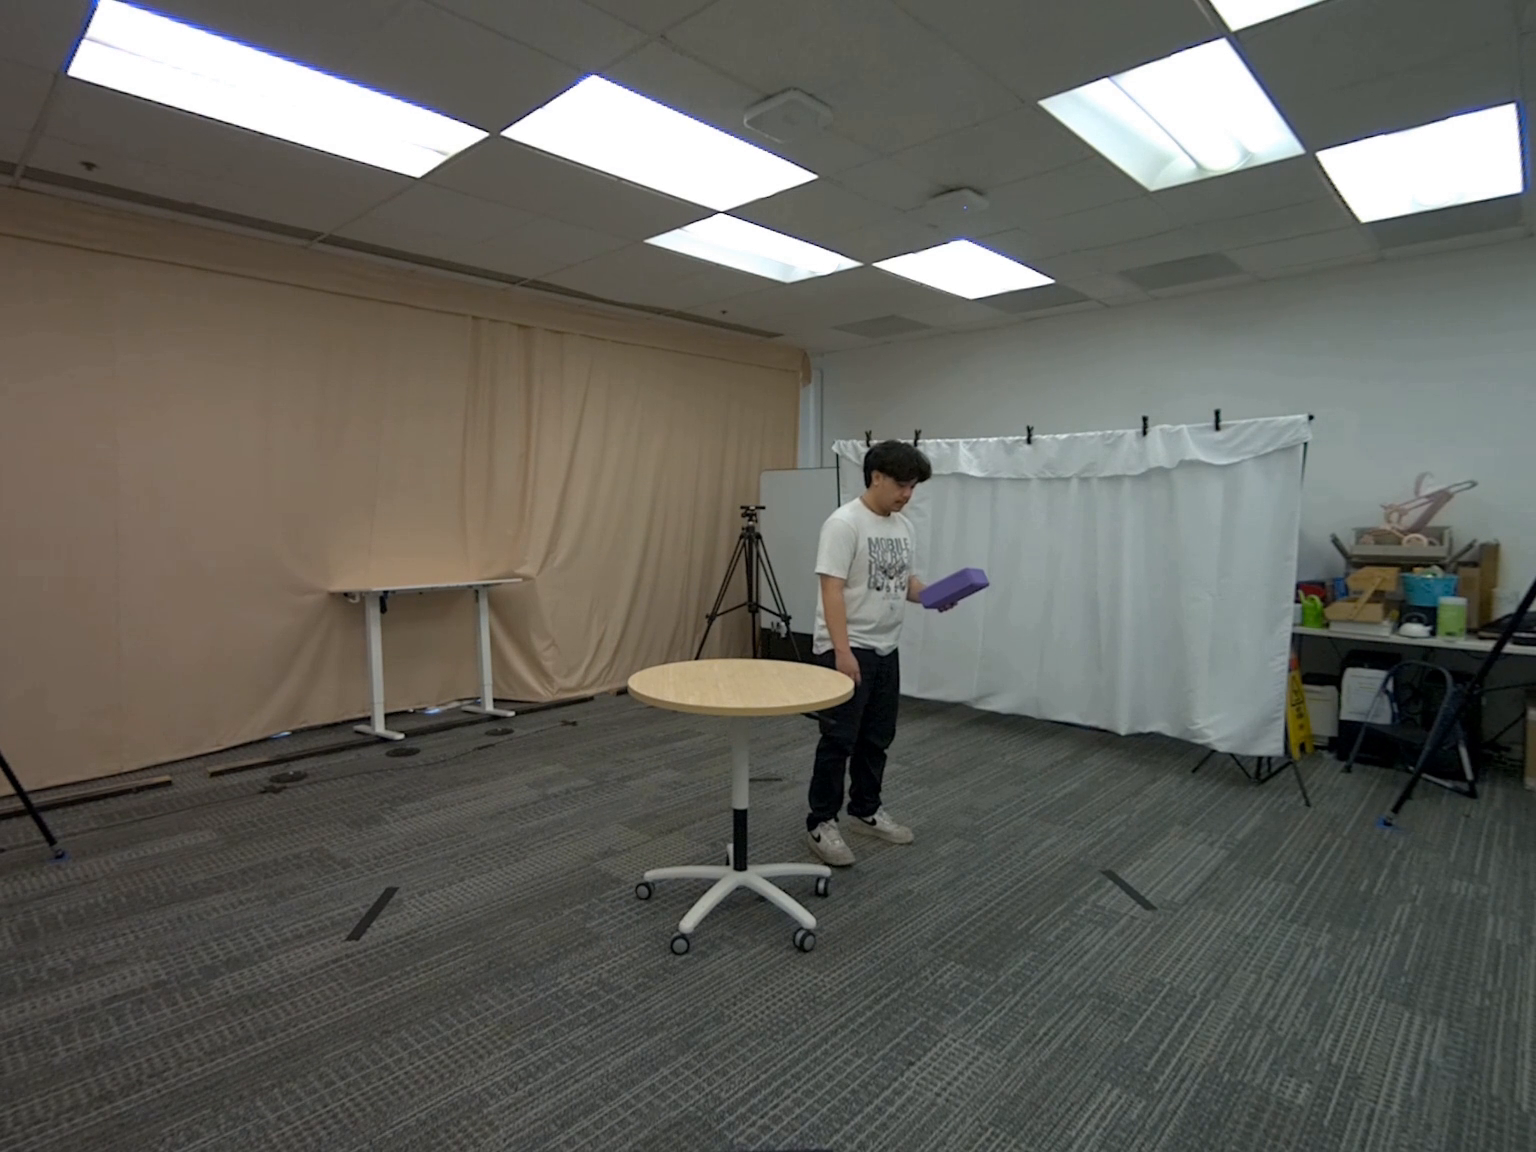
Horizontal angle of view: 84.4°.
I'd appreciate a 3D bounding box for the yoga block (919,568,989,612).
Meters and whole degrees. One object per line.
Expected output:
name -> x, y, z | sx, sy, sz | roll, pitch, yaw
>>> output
yoga block -> 0.702, 0.049, 3.229 | 0.233, 0.078, 0.144 | -31, -21, 35
